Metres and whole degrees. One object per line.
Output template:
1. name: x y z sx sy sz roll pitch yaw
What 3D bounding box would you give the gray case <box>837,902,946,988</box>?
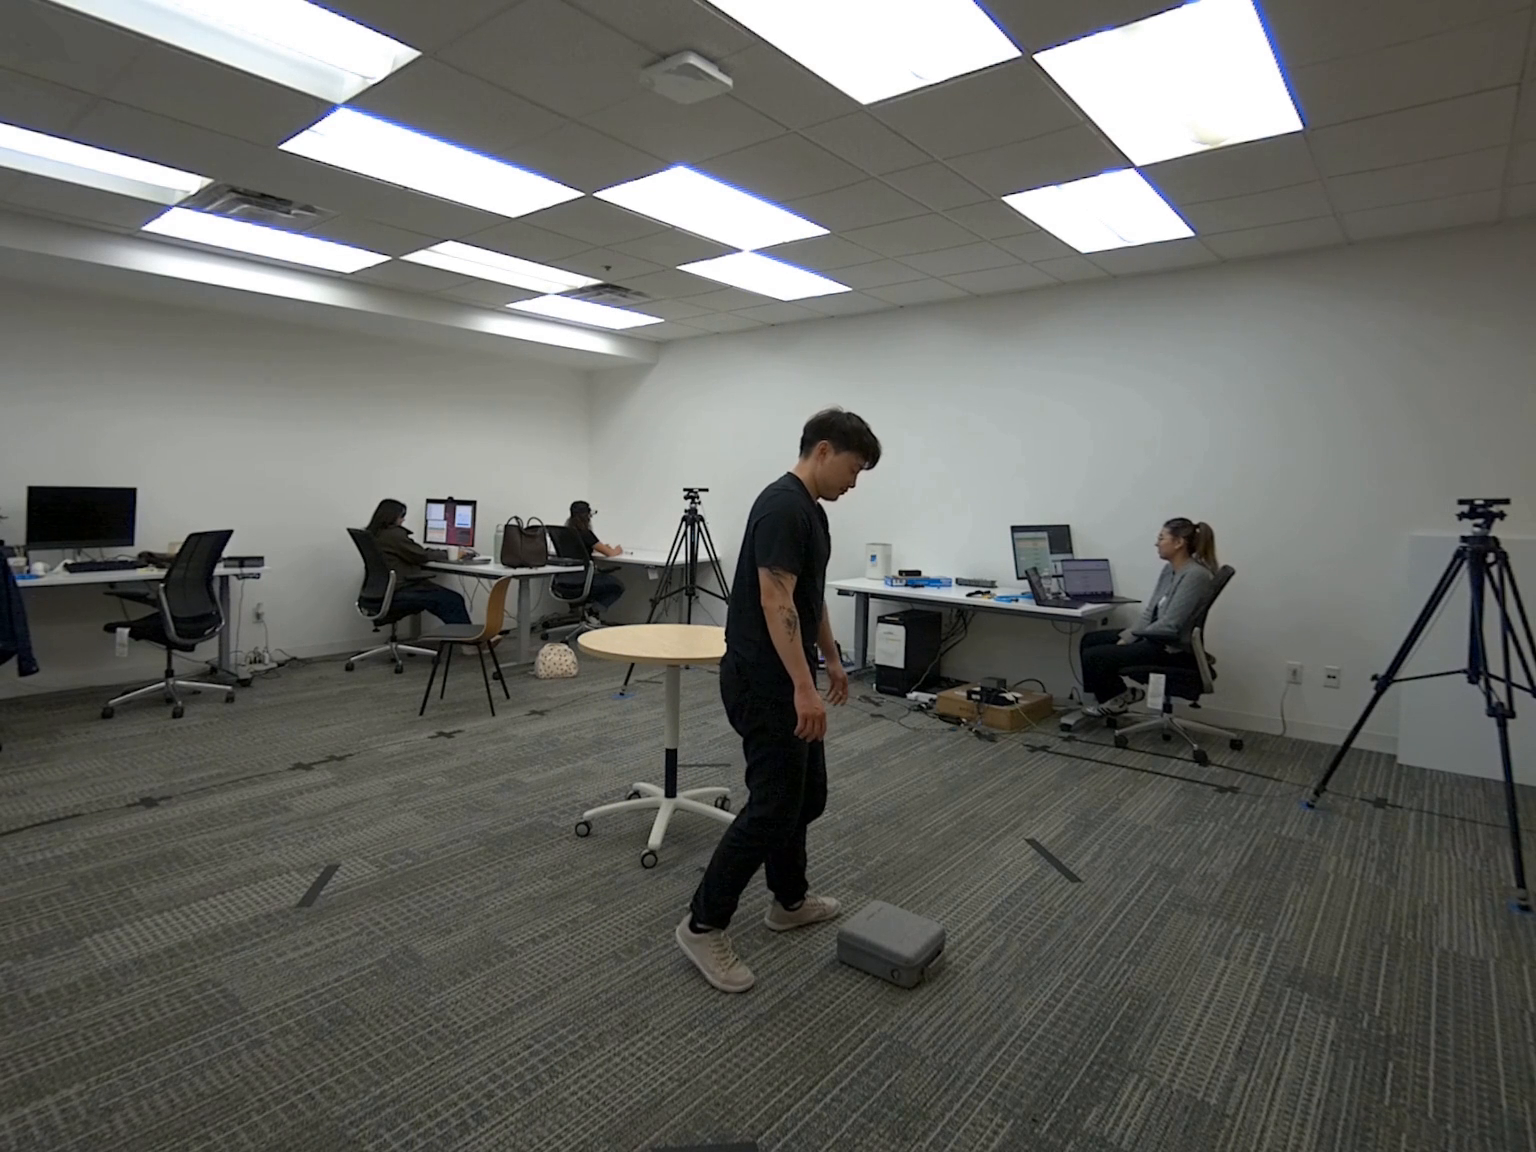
1. gray case: 0.370 1.085 2.533 0.269 0.104 0.249 7 6 36
